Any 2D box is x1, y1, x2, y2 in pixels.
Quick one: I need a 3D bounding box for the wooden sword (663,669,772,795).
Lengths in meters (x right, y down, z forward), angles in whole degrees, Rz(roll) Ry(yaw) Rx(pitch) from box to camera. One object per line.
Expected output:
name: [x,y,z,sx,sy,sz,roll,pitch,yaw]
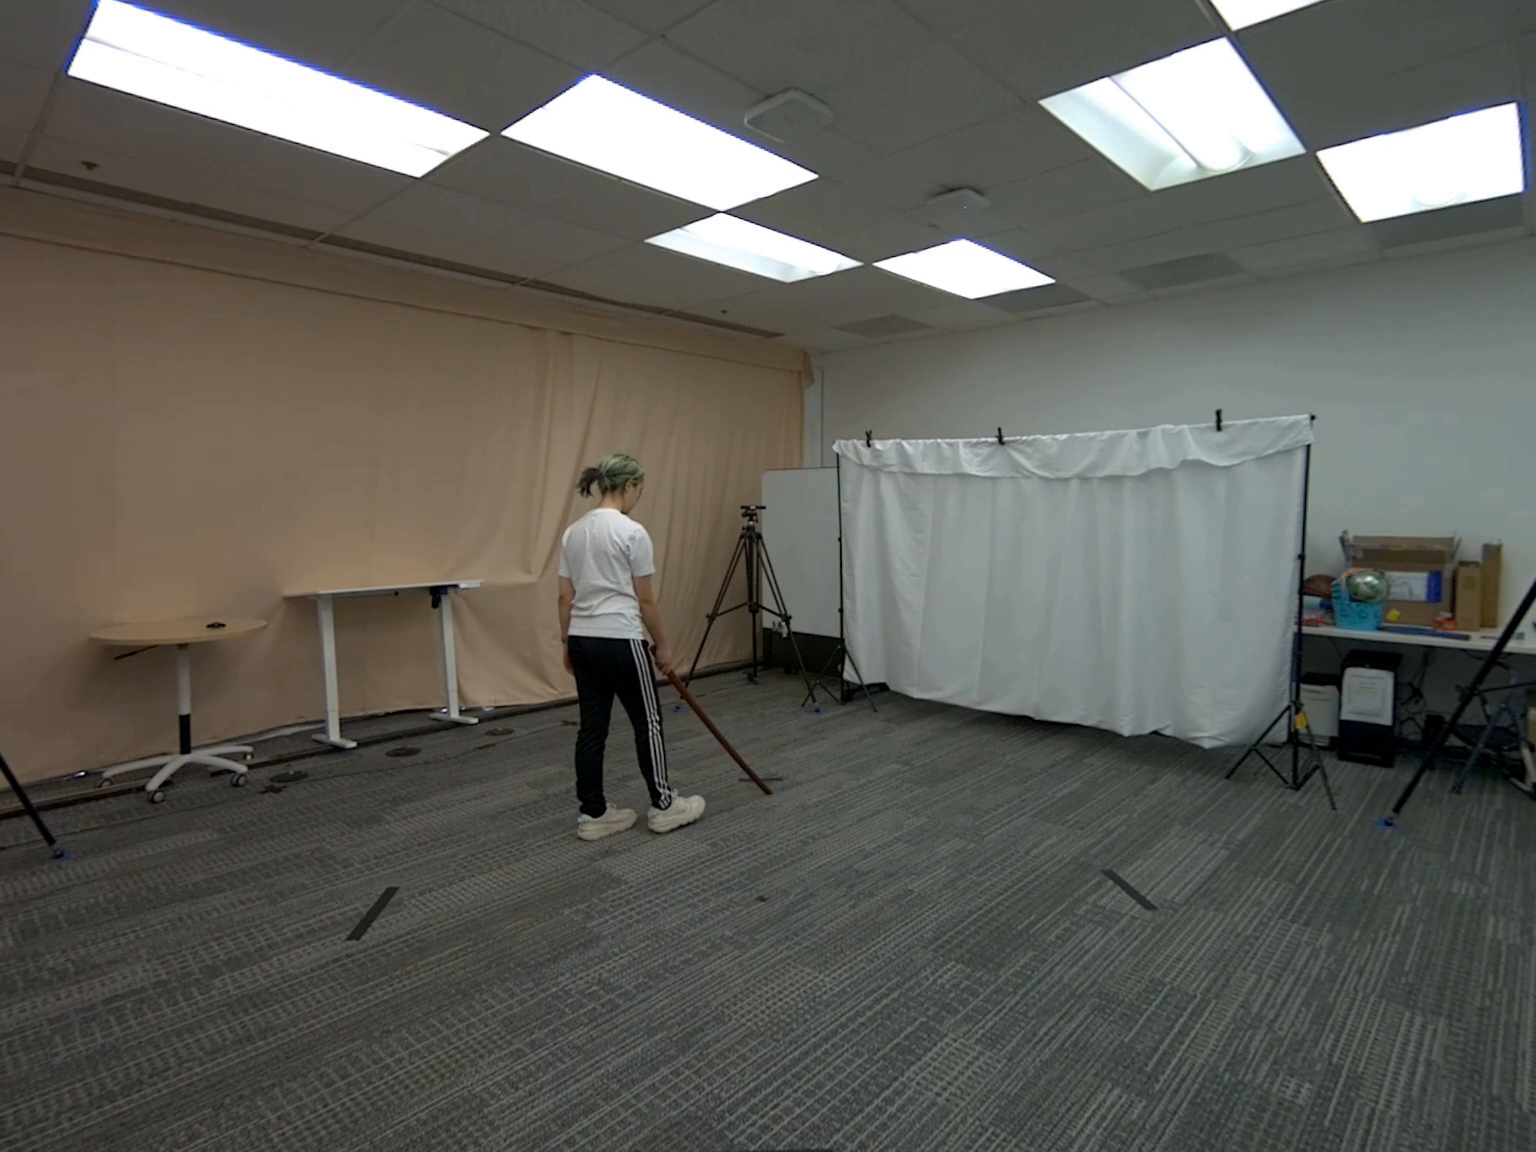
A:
wooden sword: [-0.260,0.710,3.893,0.051,1.000,0.025,-50,25,-24]
